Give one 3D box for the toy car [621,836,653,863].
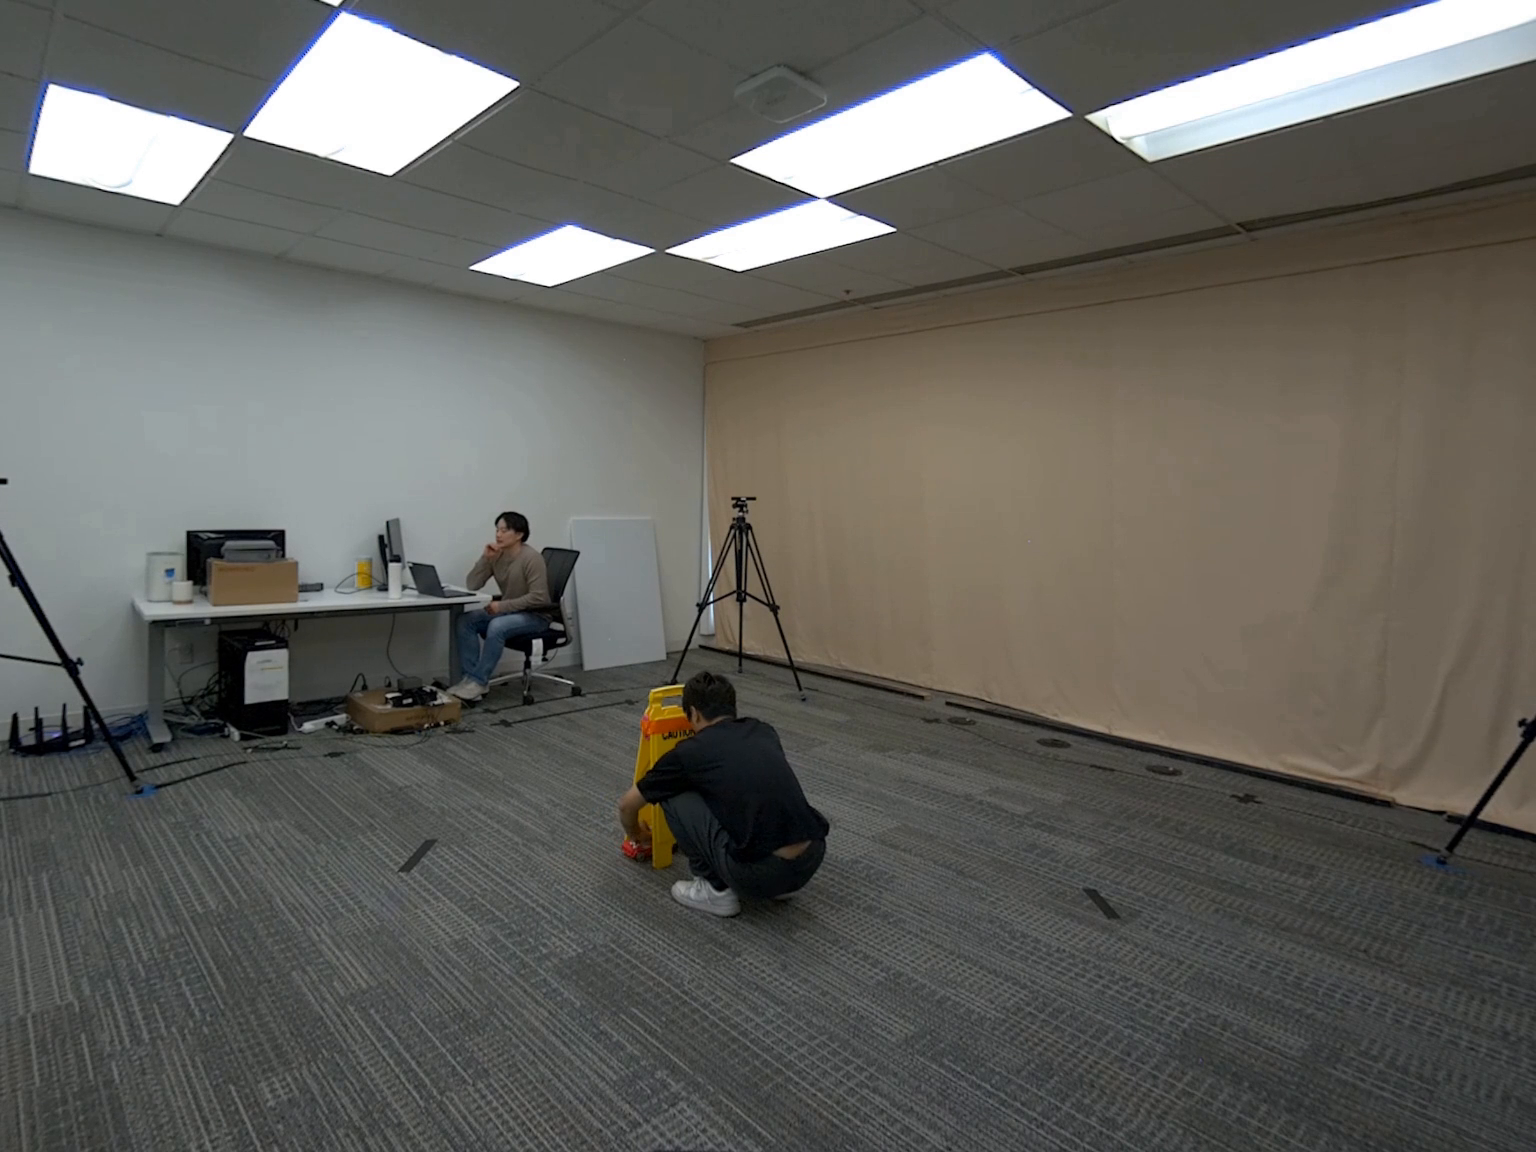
[{"bbox_3d":[-0.459,1.050,3.312,0.250,0.083,0.133,-13,10,-34],"label":"toy car"}]
